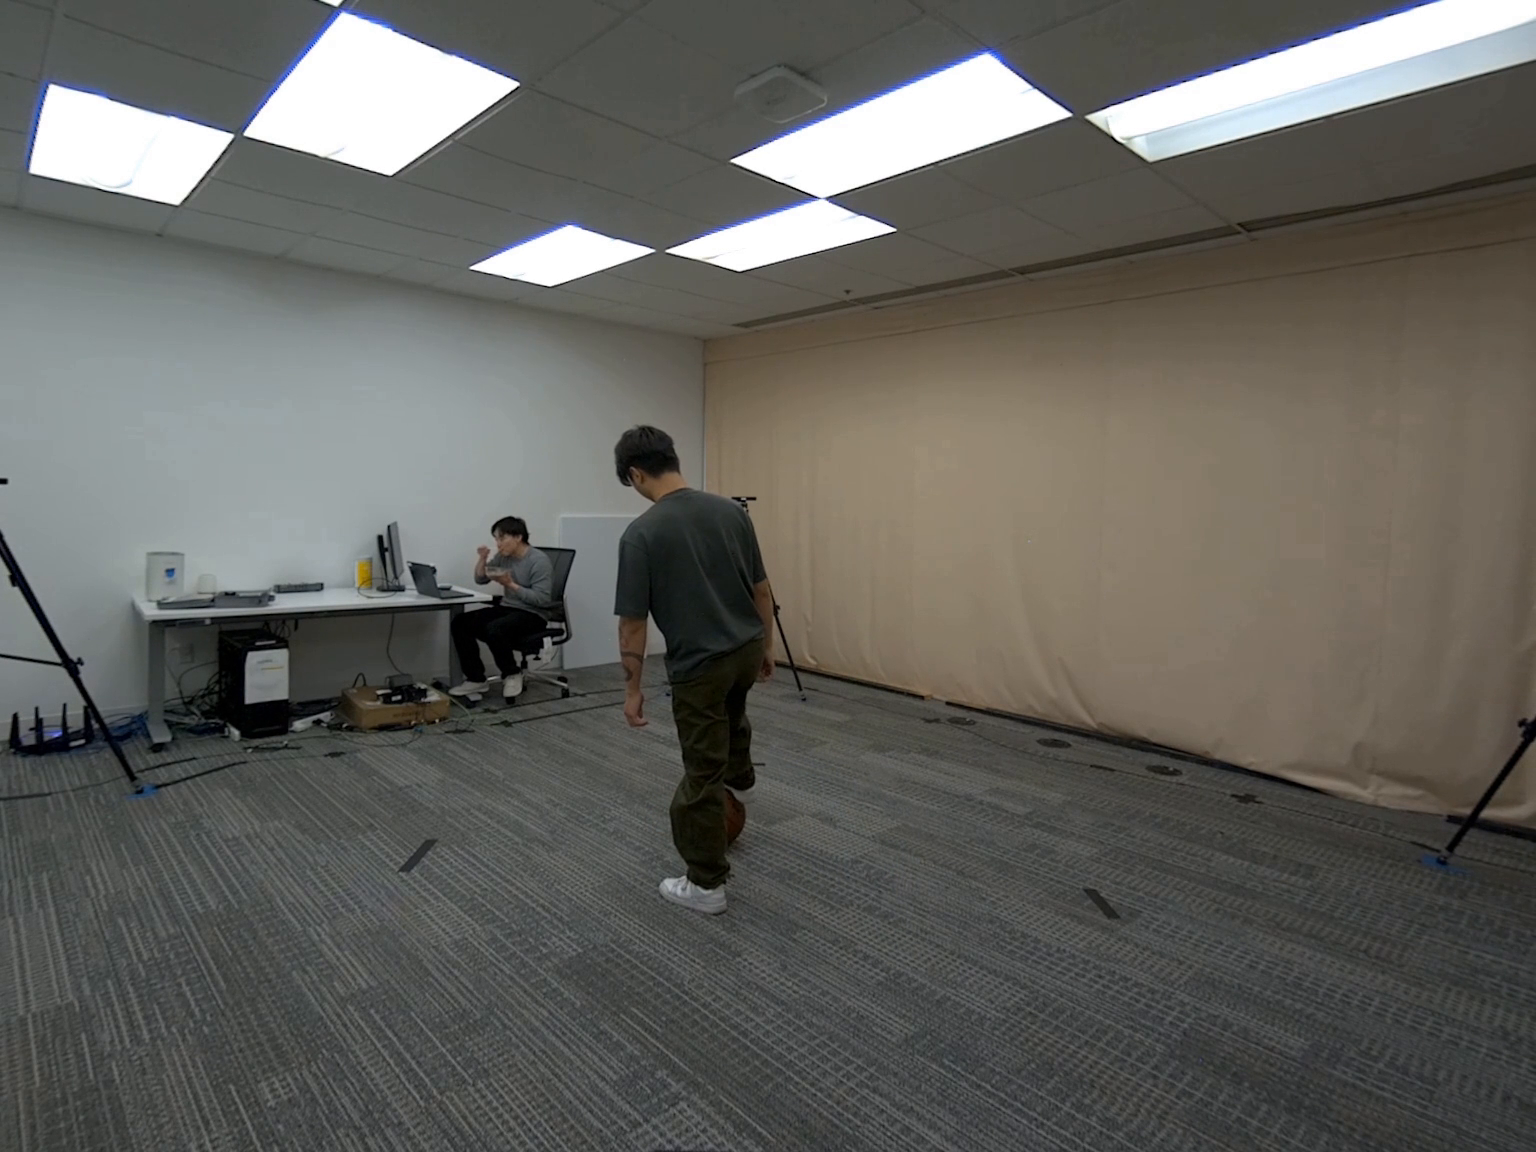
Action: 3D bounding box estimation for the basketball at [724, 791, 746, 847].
[{"bbox_3d":[-0.217,0.964,3.386,0.236,0.235,0.237,1,4,-1],"label":"basketball"}]
